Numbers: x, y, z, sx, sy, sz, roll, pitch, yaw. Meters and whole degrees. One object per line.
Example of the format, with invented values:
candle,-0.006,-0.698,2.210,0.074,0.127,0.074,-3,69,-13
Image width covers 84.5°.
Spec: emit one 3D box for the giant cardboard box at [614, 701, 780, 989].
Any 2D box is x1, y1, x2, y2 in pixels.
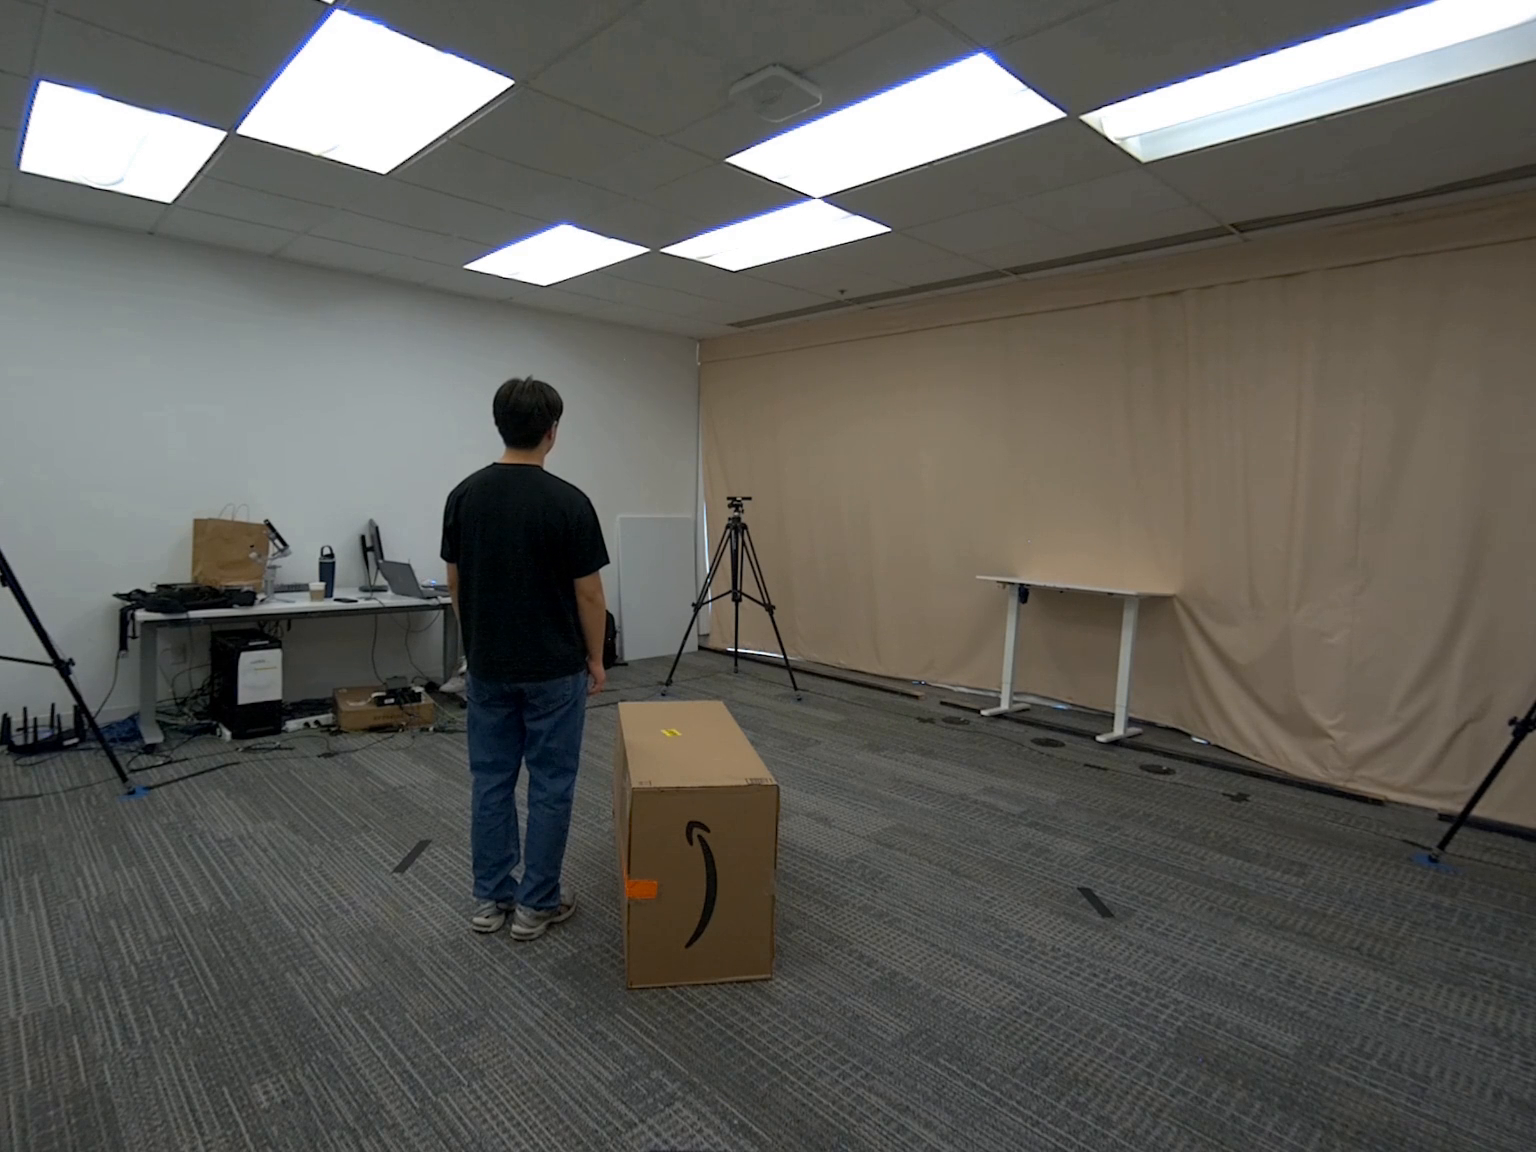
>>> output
giant cardboard box,-0.296,0.834,2.892,0.443,0.582,1.039,0,4,-12
